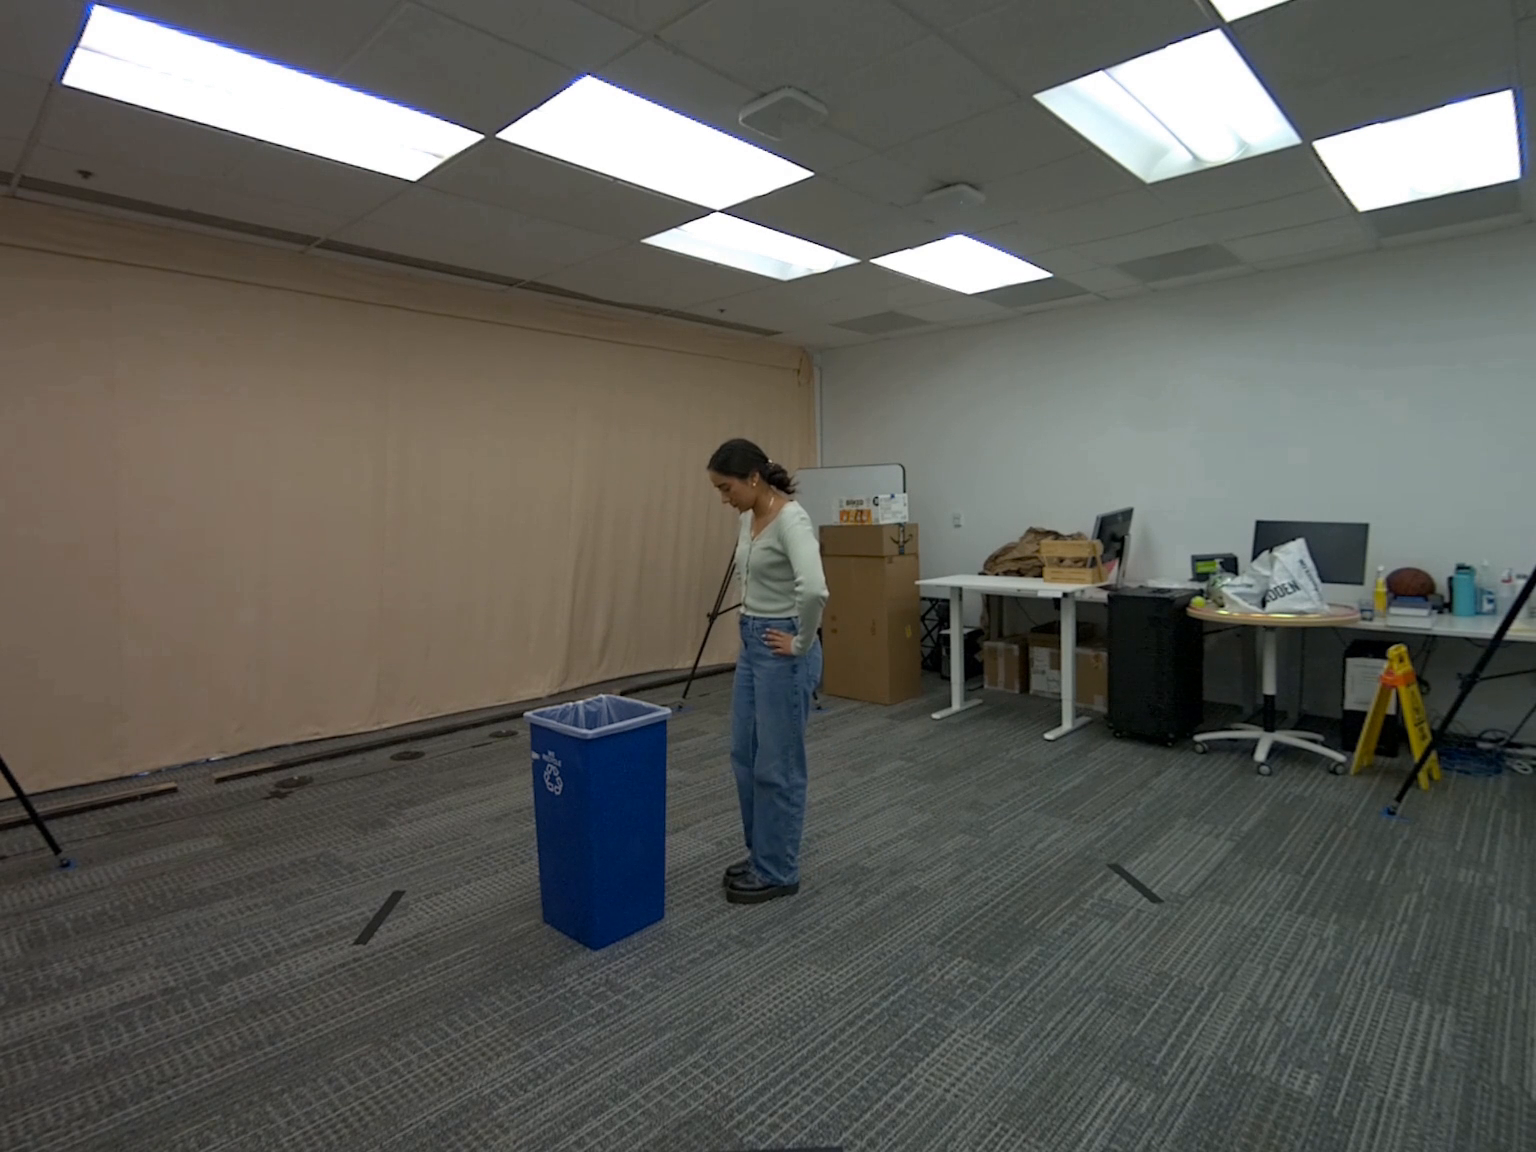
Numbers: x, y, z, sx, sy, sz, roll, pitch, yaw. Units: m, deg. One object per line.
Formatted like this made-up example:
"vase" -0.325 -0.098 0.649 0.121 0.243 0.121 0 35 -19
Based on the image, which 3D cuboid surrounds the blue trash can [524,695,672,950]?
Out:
"blue trash can" -0.565 0.808 2.823 0.390 0.712 0.363 2 4 42
